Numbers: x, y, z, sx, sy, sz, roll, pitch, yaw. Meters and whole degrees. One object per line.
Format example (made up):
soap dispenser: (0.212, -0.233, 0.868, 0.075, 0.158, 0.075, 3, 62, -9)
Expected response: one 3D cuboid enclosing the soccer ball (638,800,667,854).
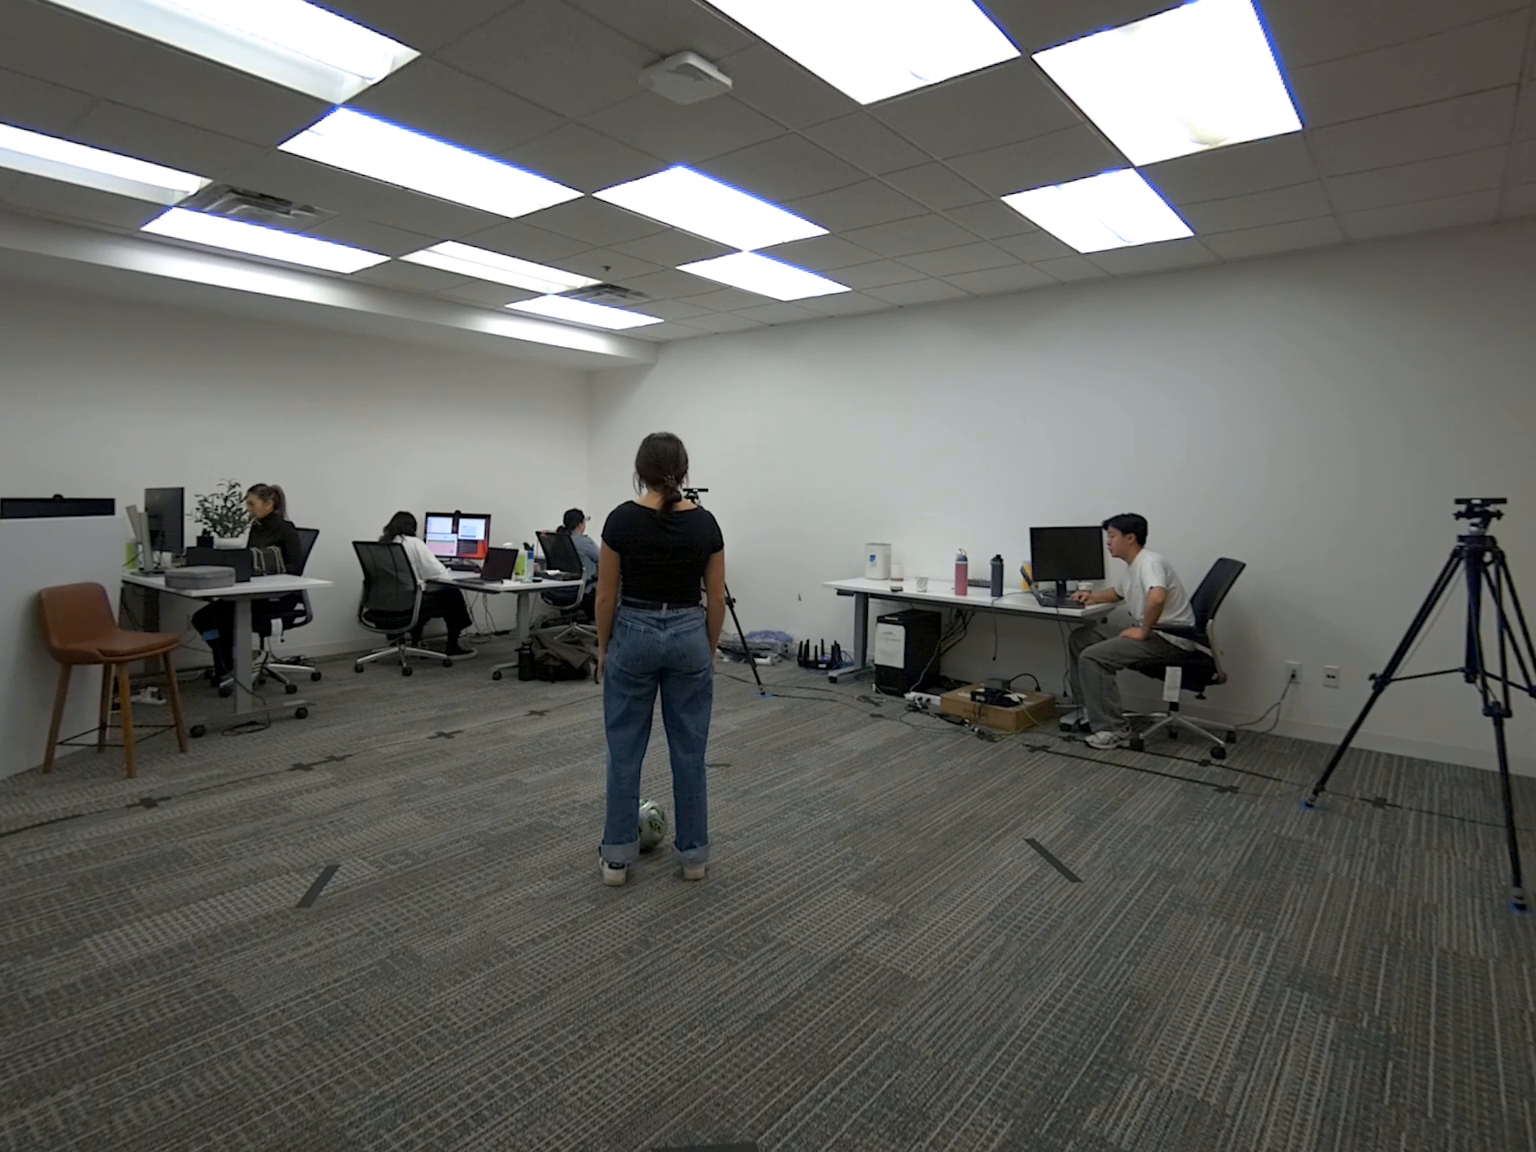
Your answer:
soccer ball: (-0.469, 0.953, 3.284, 0.187, 0.187, 0.188, 1, 4, -2)
